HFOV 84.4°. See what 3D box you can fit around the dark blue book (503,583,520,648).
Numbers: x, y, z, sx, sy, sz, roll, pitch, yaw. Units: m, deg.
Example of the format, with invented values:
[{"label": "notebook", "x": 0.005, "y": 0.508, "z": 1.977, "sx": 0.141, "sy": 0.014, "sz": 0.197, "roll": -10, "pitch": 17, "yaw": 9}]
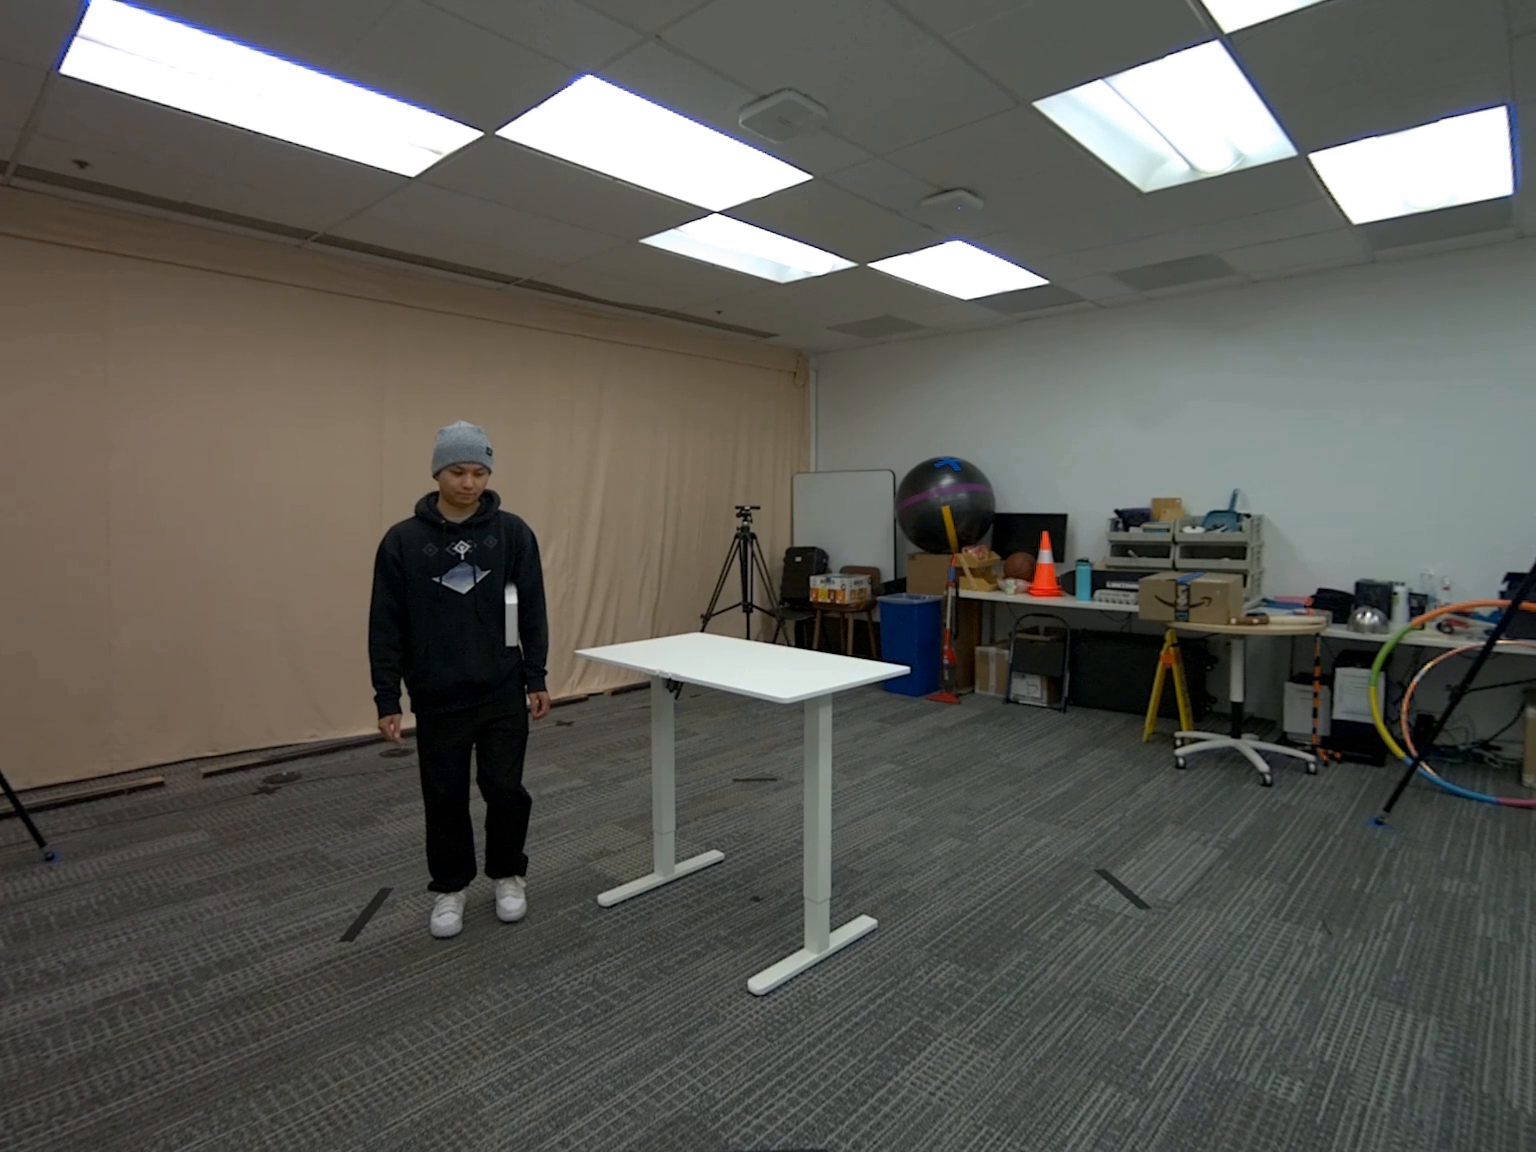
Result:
[{"label": "dark blue book", "x": -0.875, "y": 0.125, "z": 2.877, "sx": 0.044, "sy": 0.162, "sz": 0.252, "roll": -1, "pitch": 17, "yaw": -19}]
